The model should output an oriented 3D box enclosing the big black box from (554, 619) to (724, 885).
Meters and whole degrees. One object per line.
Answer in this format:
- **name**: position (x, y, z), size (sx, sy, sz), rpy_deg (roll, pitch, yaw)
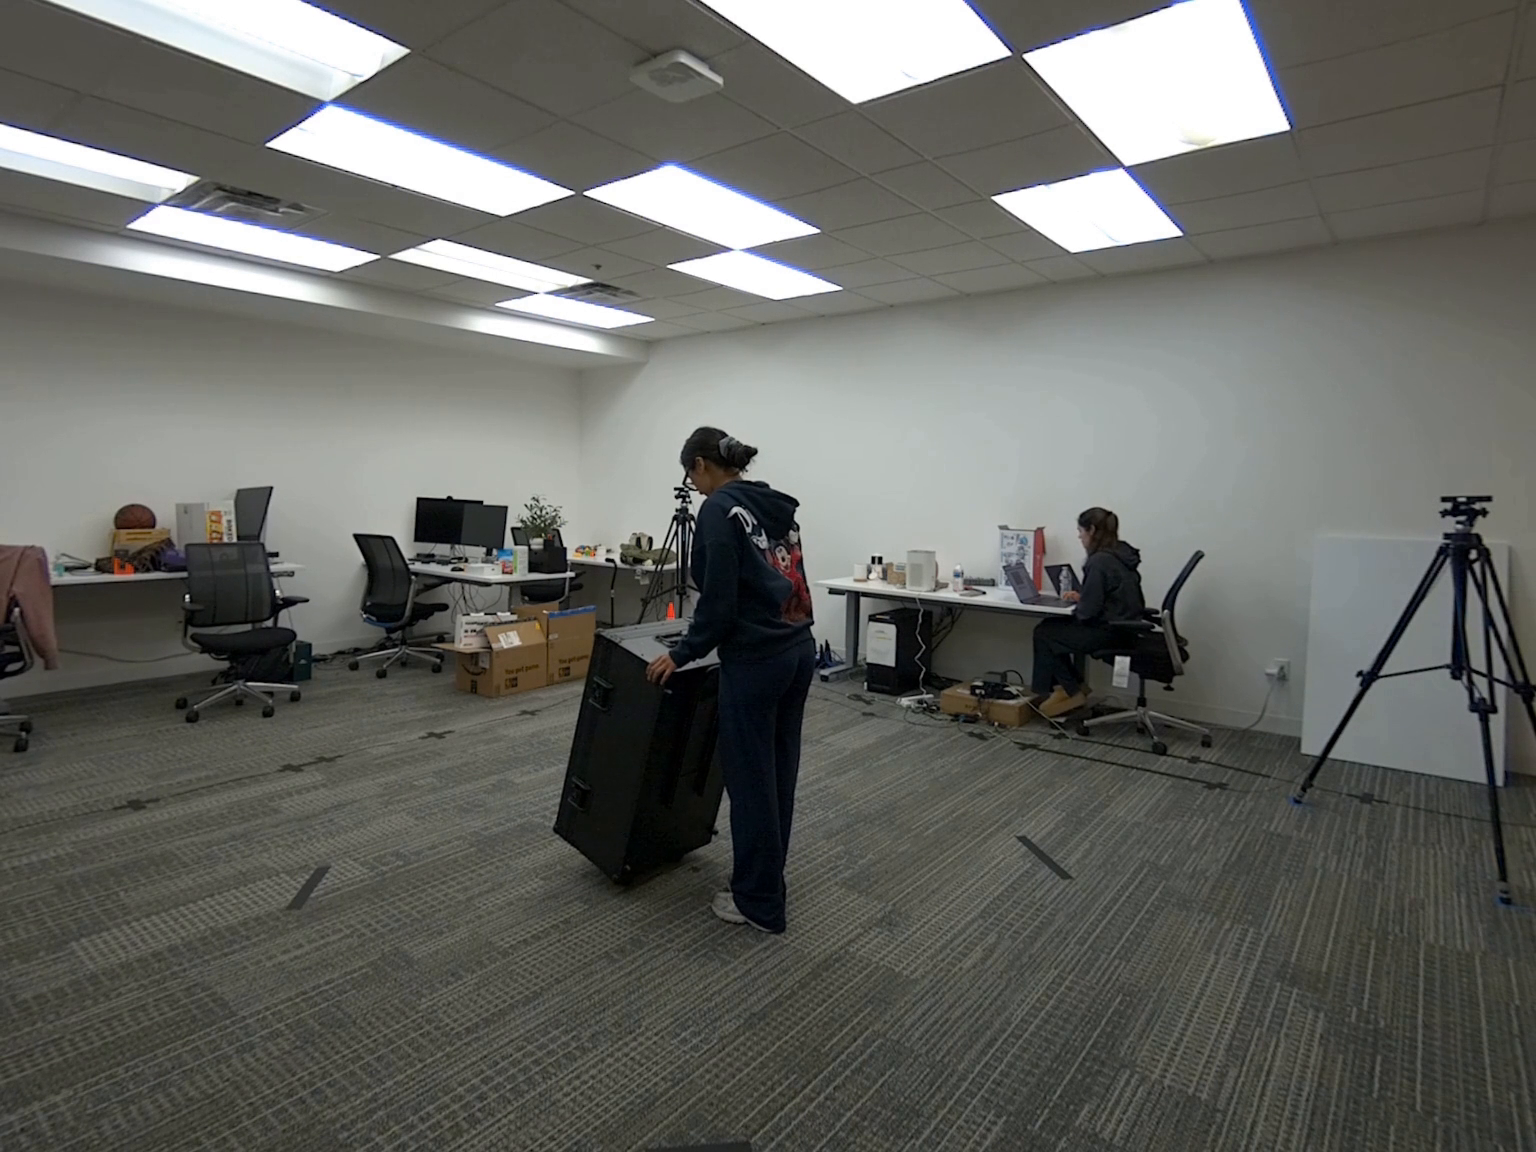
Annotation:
- **big black box**: position (-0.413, 0.633, 3.058), size (0.412, 0.854, 0.506), rpy_deg (23, 16, 34)
